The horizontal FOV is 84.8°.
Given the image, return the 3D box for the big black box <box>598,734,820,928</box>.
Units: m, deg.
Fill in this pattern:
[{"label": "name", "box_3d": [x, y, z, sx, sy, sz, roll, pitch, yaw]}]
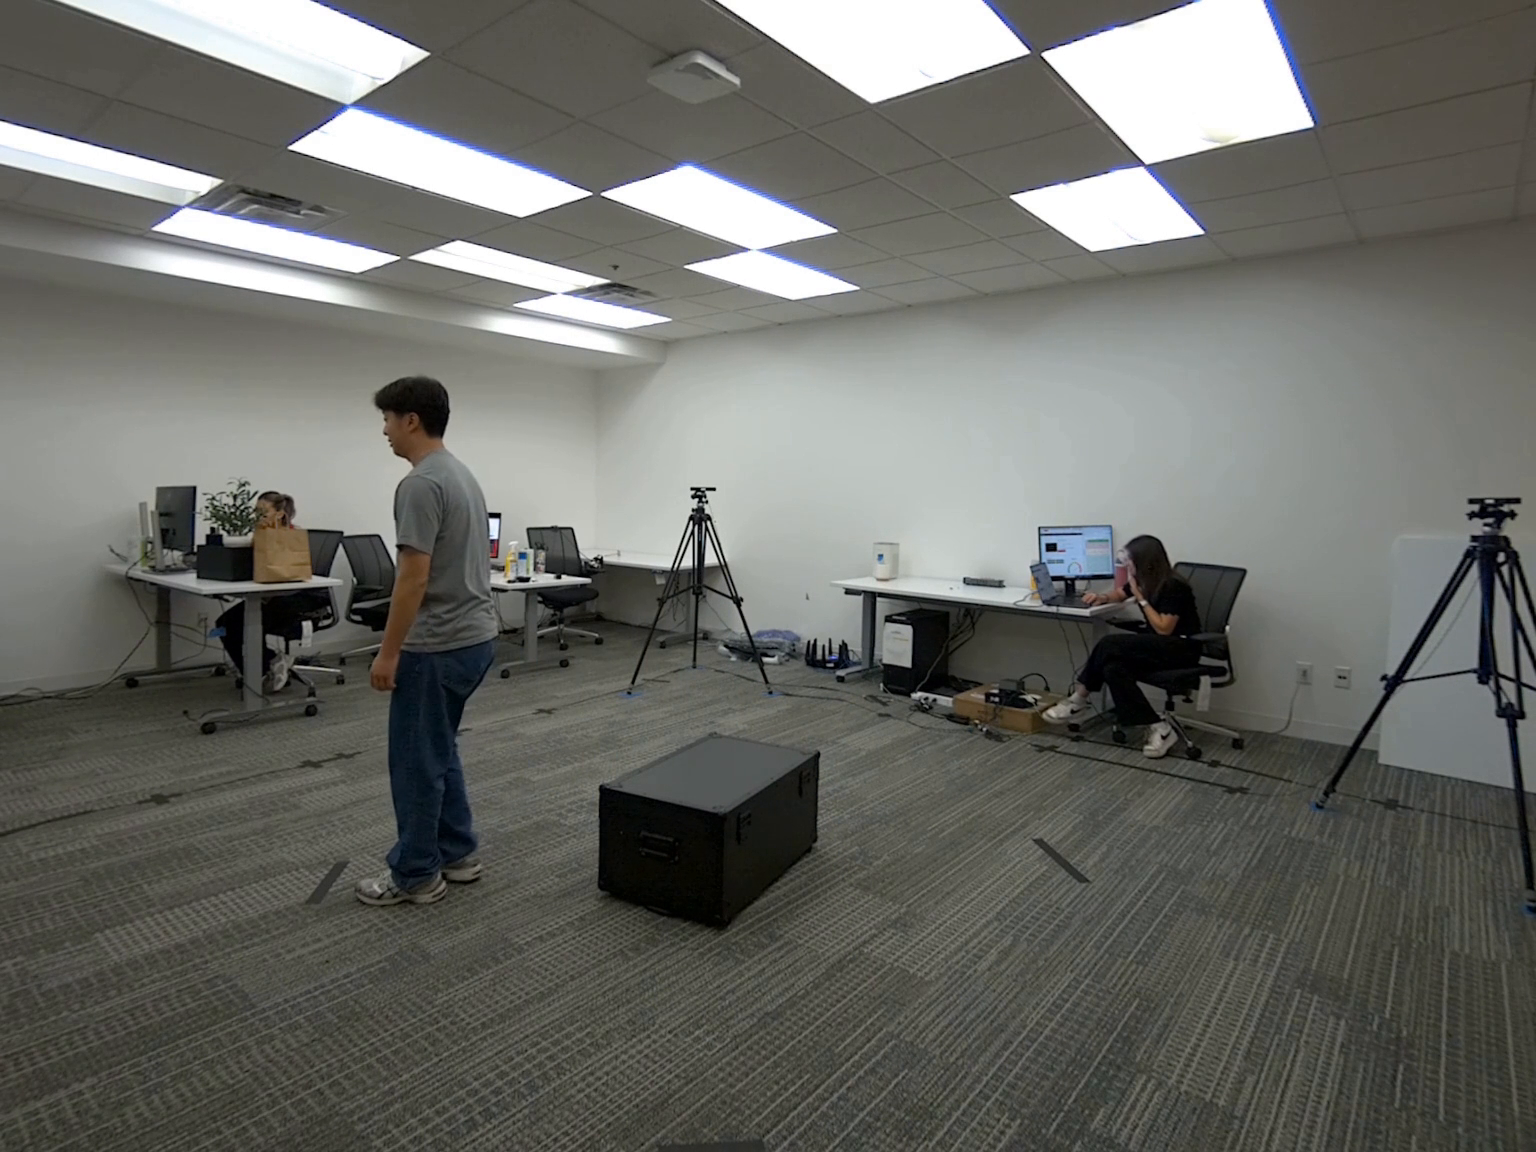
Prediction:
[{"label": "big black box", "box_3d": [-0.179, 0.876, 3.115, 0.535, 0.395, 0.842, 3, 6, 26]}]
